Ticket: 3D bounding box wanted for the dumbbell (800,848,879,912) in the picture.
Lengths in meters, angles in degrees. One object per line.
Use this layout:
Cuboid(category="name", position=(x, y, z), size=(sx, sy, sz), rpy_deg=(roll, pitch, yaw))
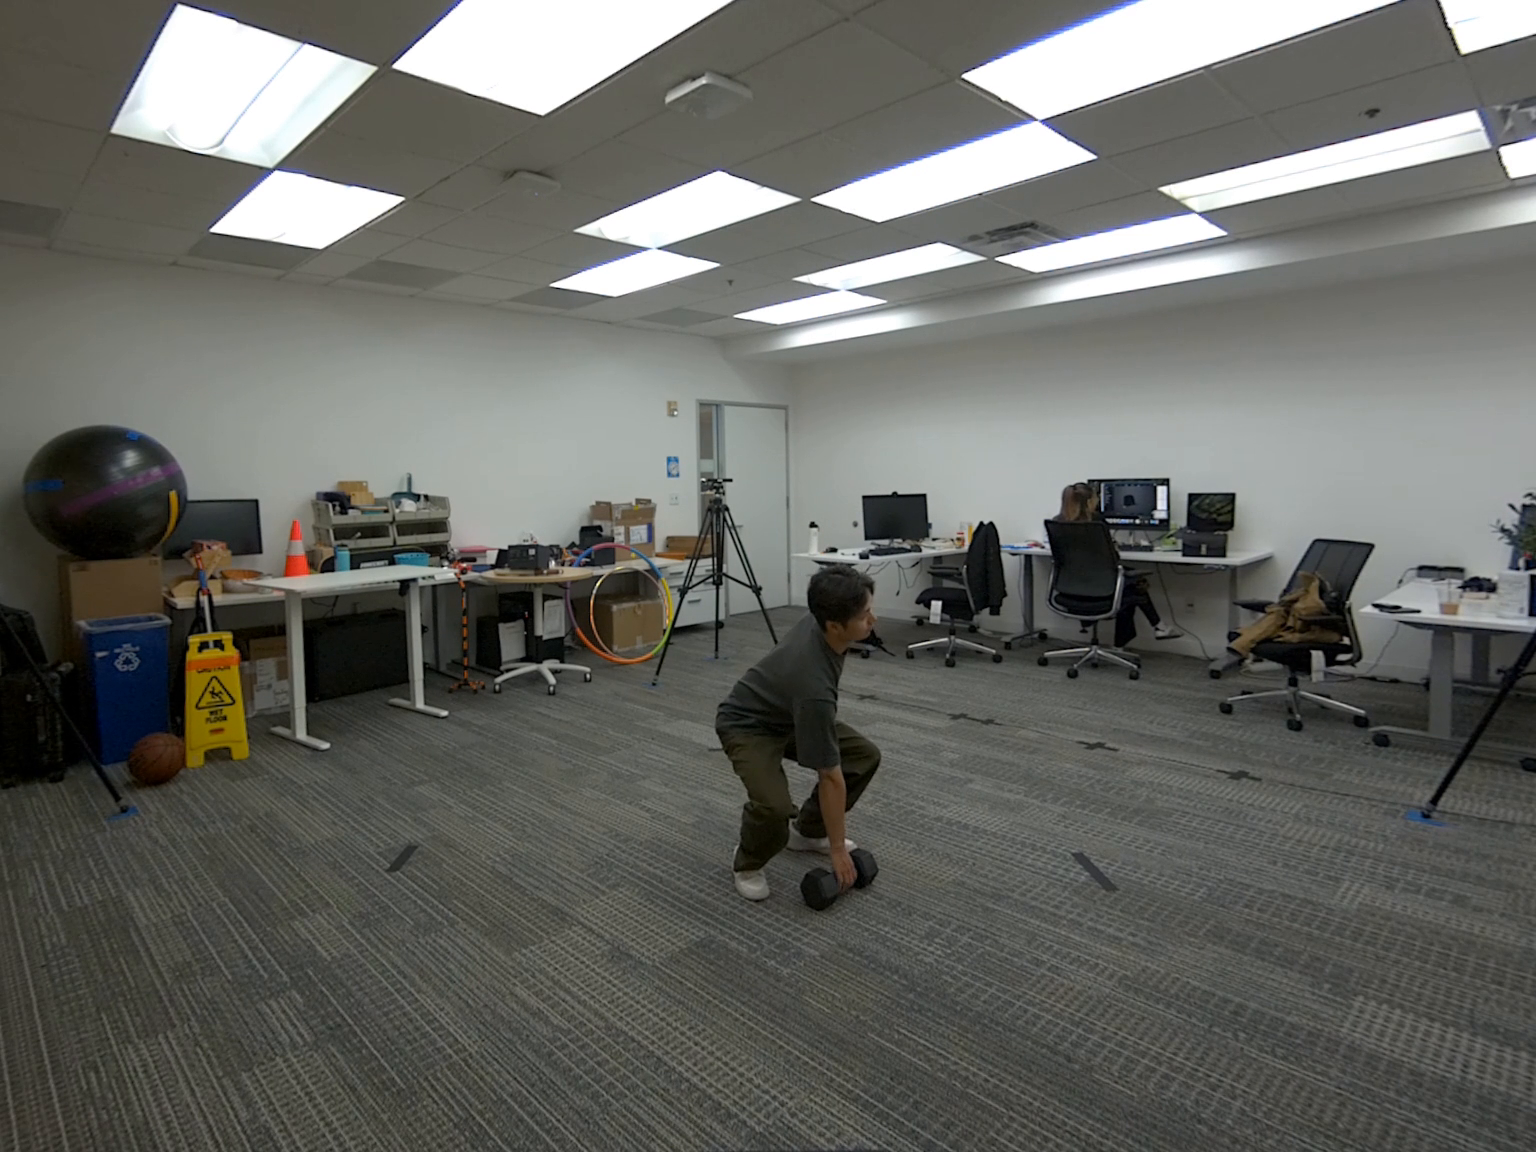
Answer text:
Cuboid(category="dumbbell", position=(0.239, 1.016, 2.864), size=(0.286, 0.121, 0.113), rpy_deg=(-8, 40, -45))
